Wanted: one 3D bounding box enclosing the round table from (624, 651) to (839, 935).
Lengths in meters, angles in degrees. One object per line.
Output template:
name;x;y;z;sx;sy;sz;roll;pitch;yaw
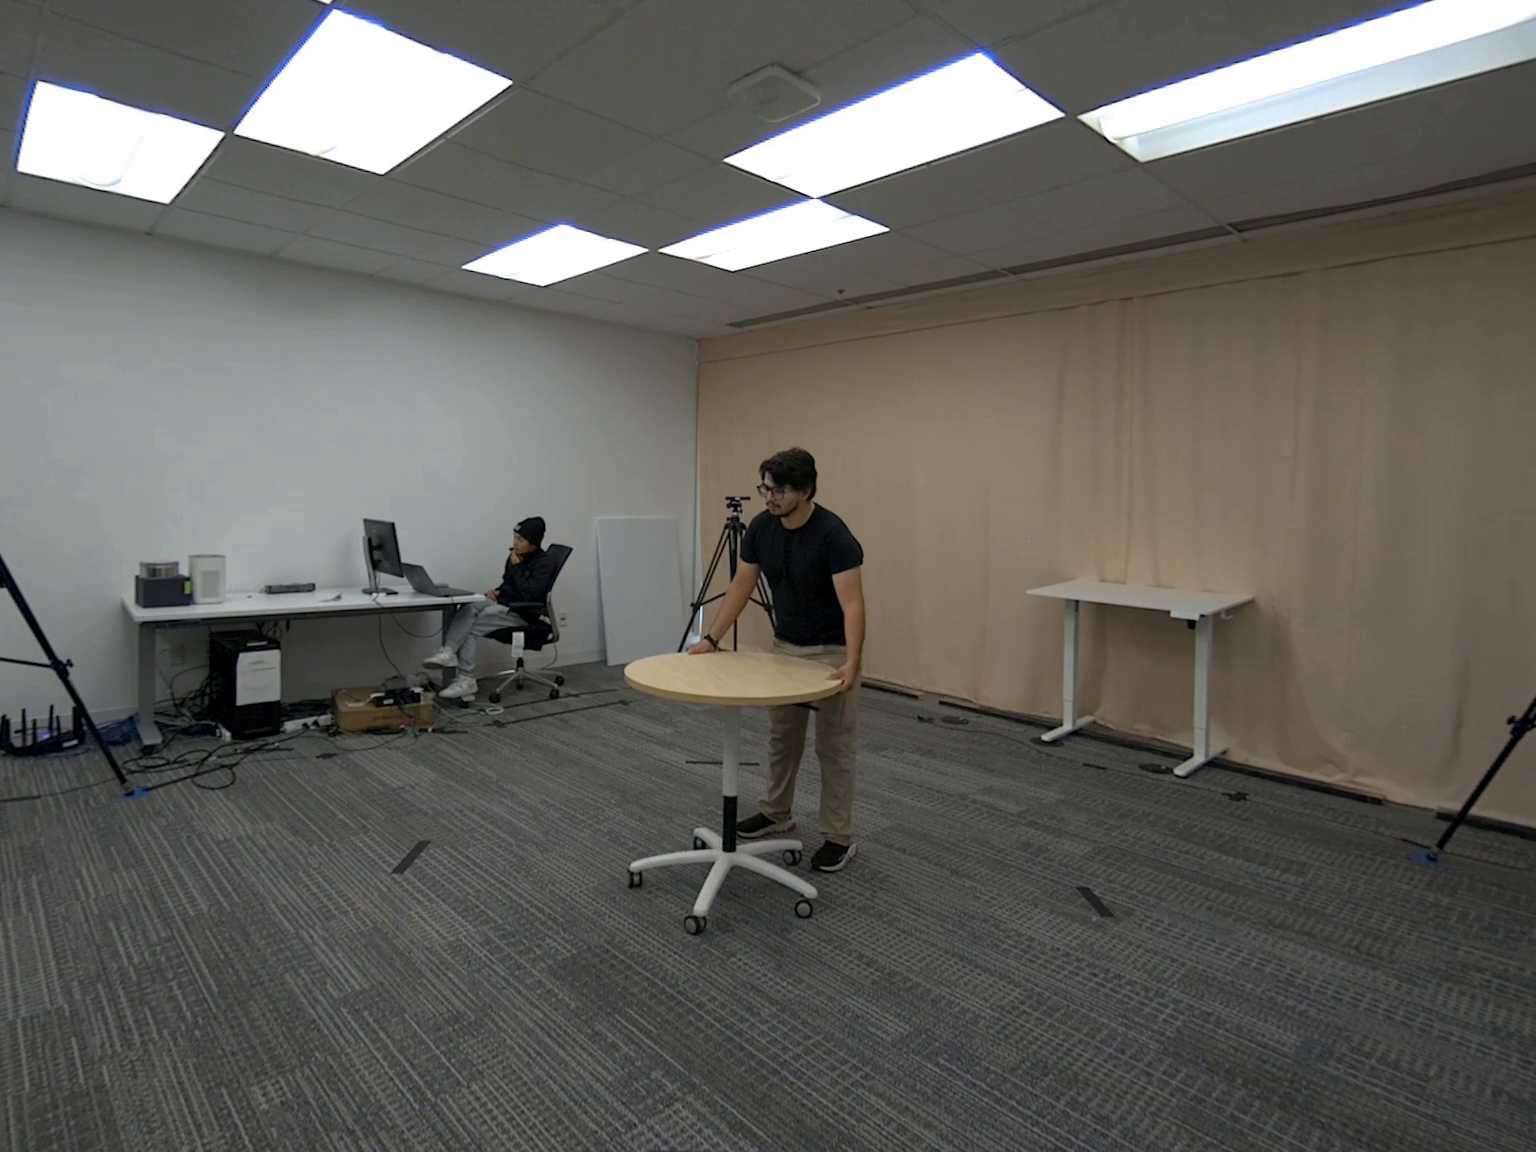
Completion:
round table;-0.133;0.724;2.971;0.784;0.784;0.788;1;4;-1
